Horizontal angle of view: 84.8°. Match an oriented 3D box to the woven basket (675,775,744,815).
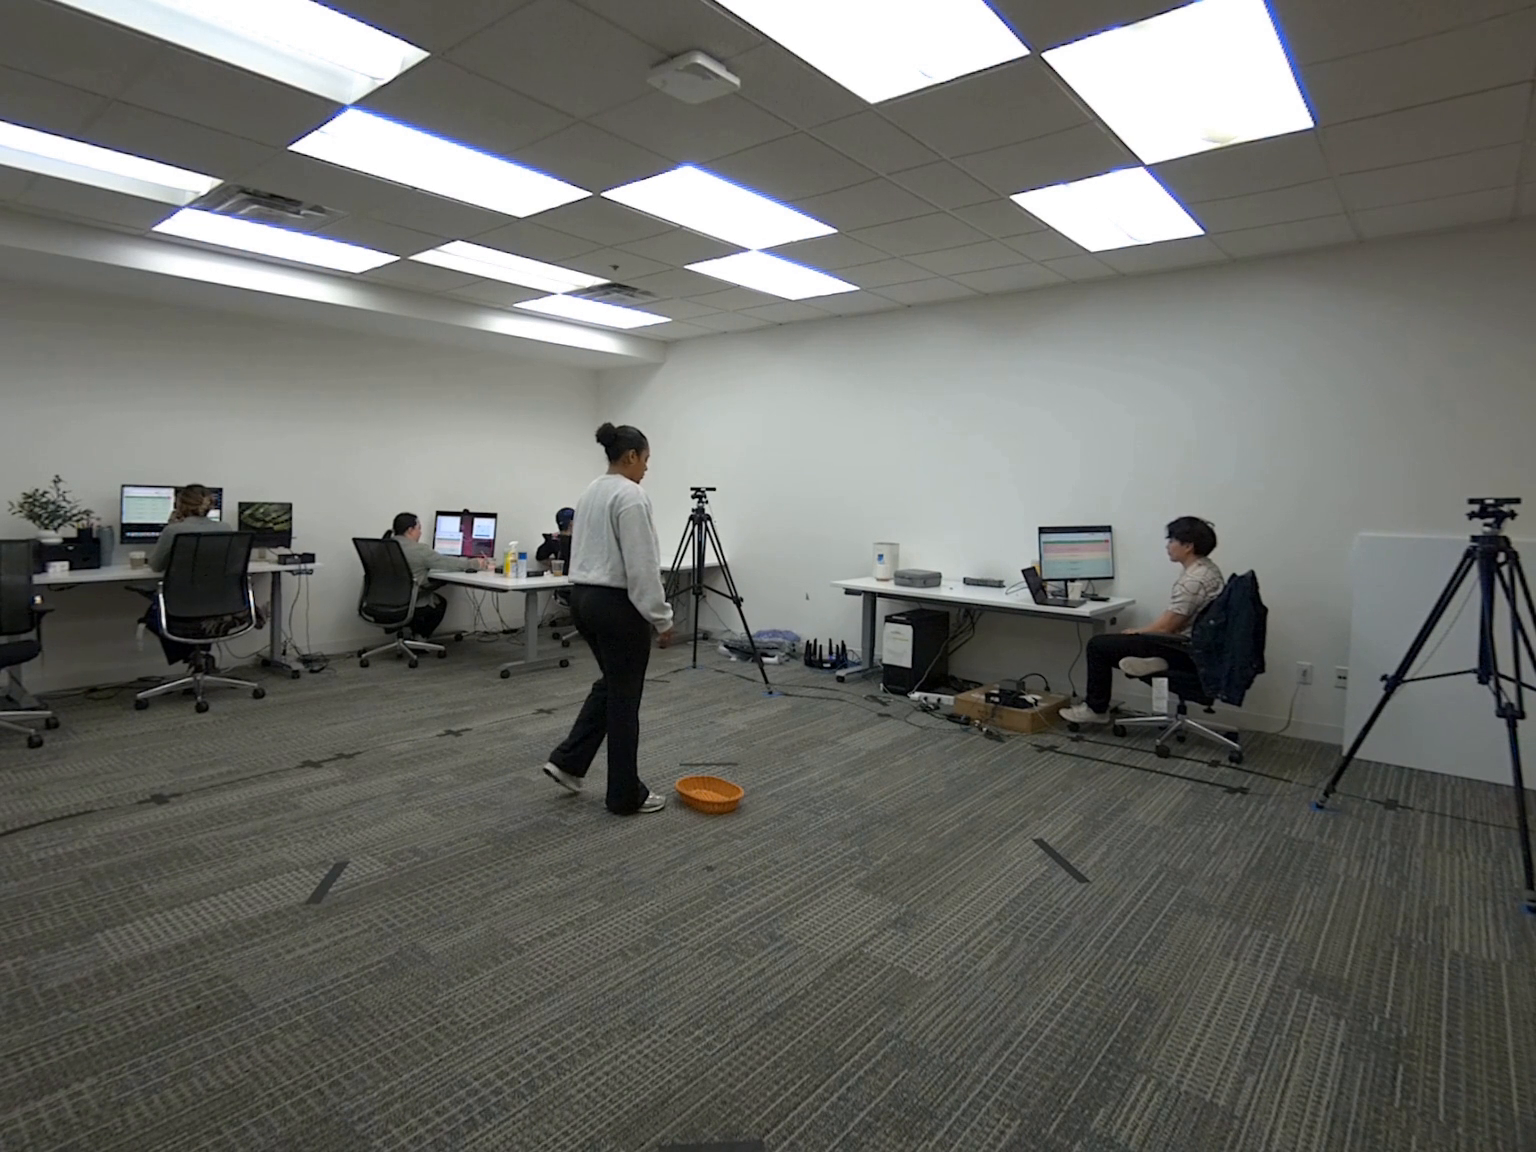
[{"bbox_3d":[-0.271,0.963,3.757,0.245,0.073,0.362,-5,8,-41],"label":"woven basket"}]
